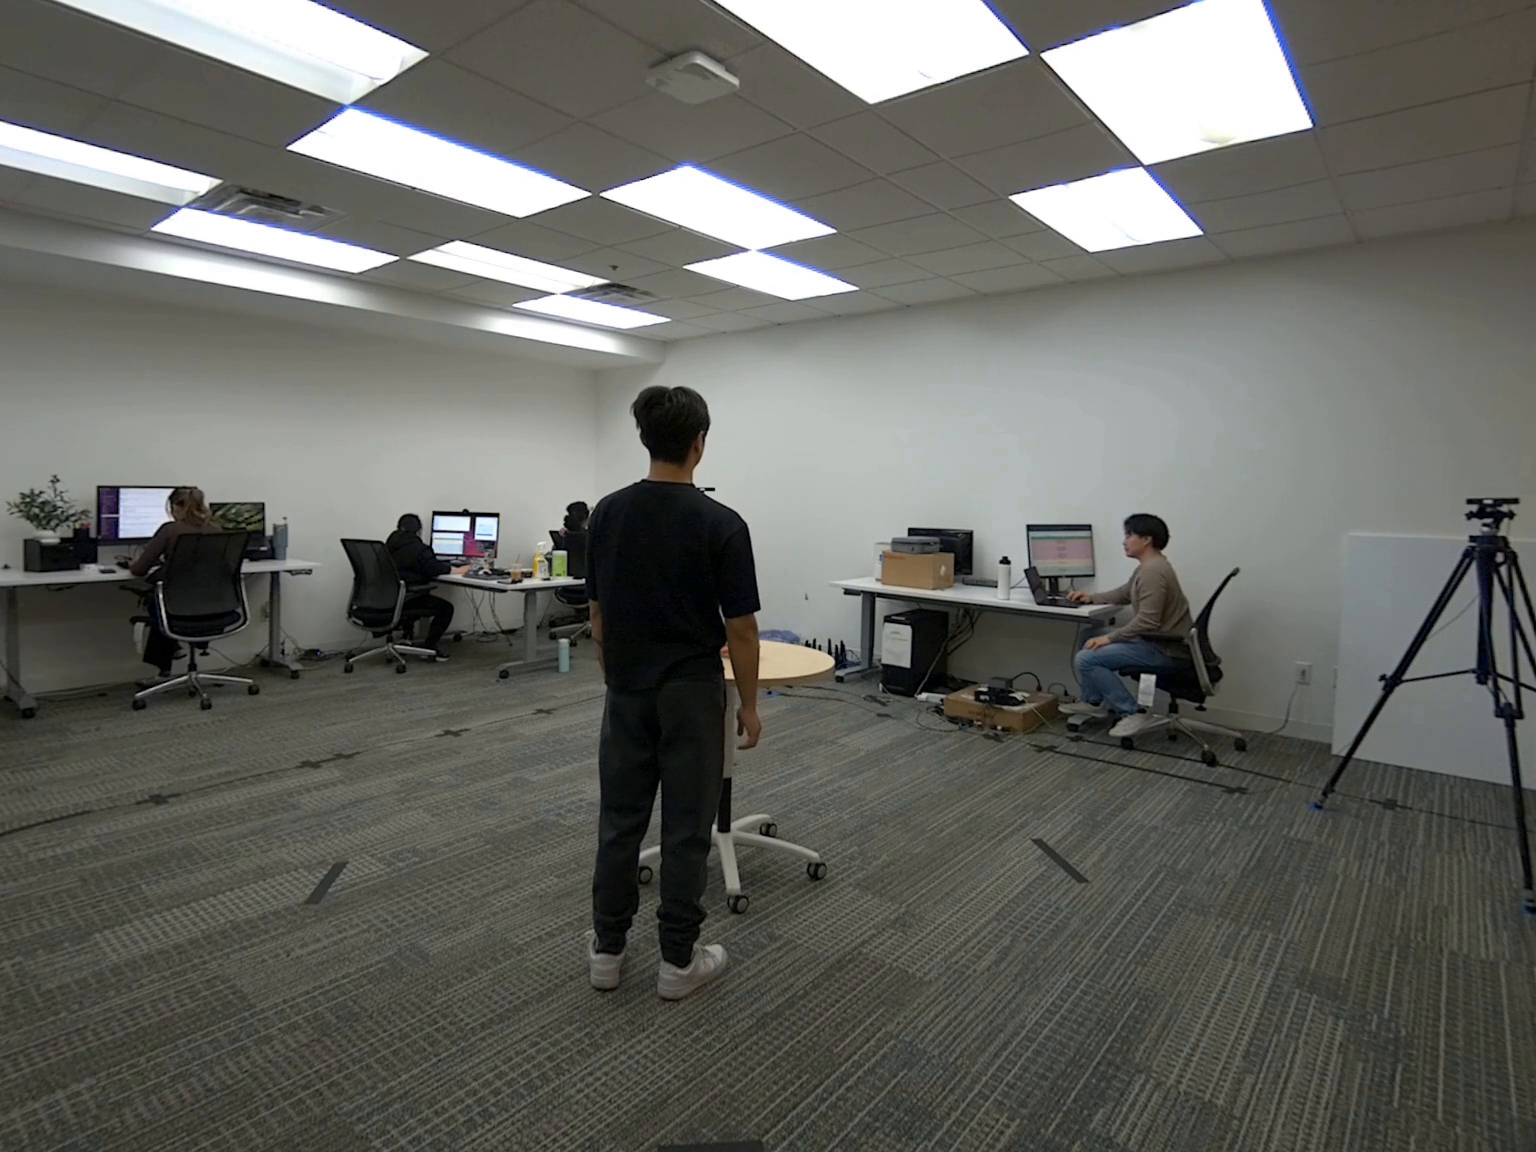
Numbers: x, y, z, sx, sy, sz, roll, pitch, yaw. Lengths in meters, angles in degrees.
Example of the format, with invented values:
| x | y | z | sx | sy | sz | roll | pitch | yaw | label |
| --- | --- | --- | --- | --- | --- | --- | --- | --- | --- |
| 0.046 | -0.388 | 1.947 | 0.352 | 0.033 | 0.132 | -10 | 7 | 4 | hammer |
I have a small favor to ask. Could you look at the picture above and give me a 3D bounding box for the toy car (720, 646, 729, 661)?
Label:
| x | y | z | sx | sy | sz | roll | pitch | yaw | label |
| --- | --- | --- | --- | --- | --- | --- | --- | --- | --- |
| -0.164 | 0.253 | 3.081 | 0.261 | 0.083 | 0.127 | 15 | 9 | 22 | toy car |
